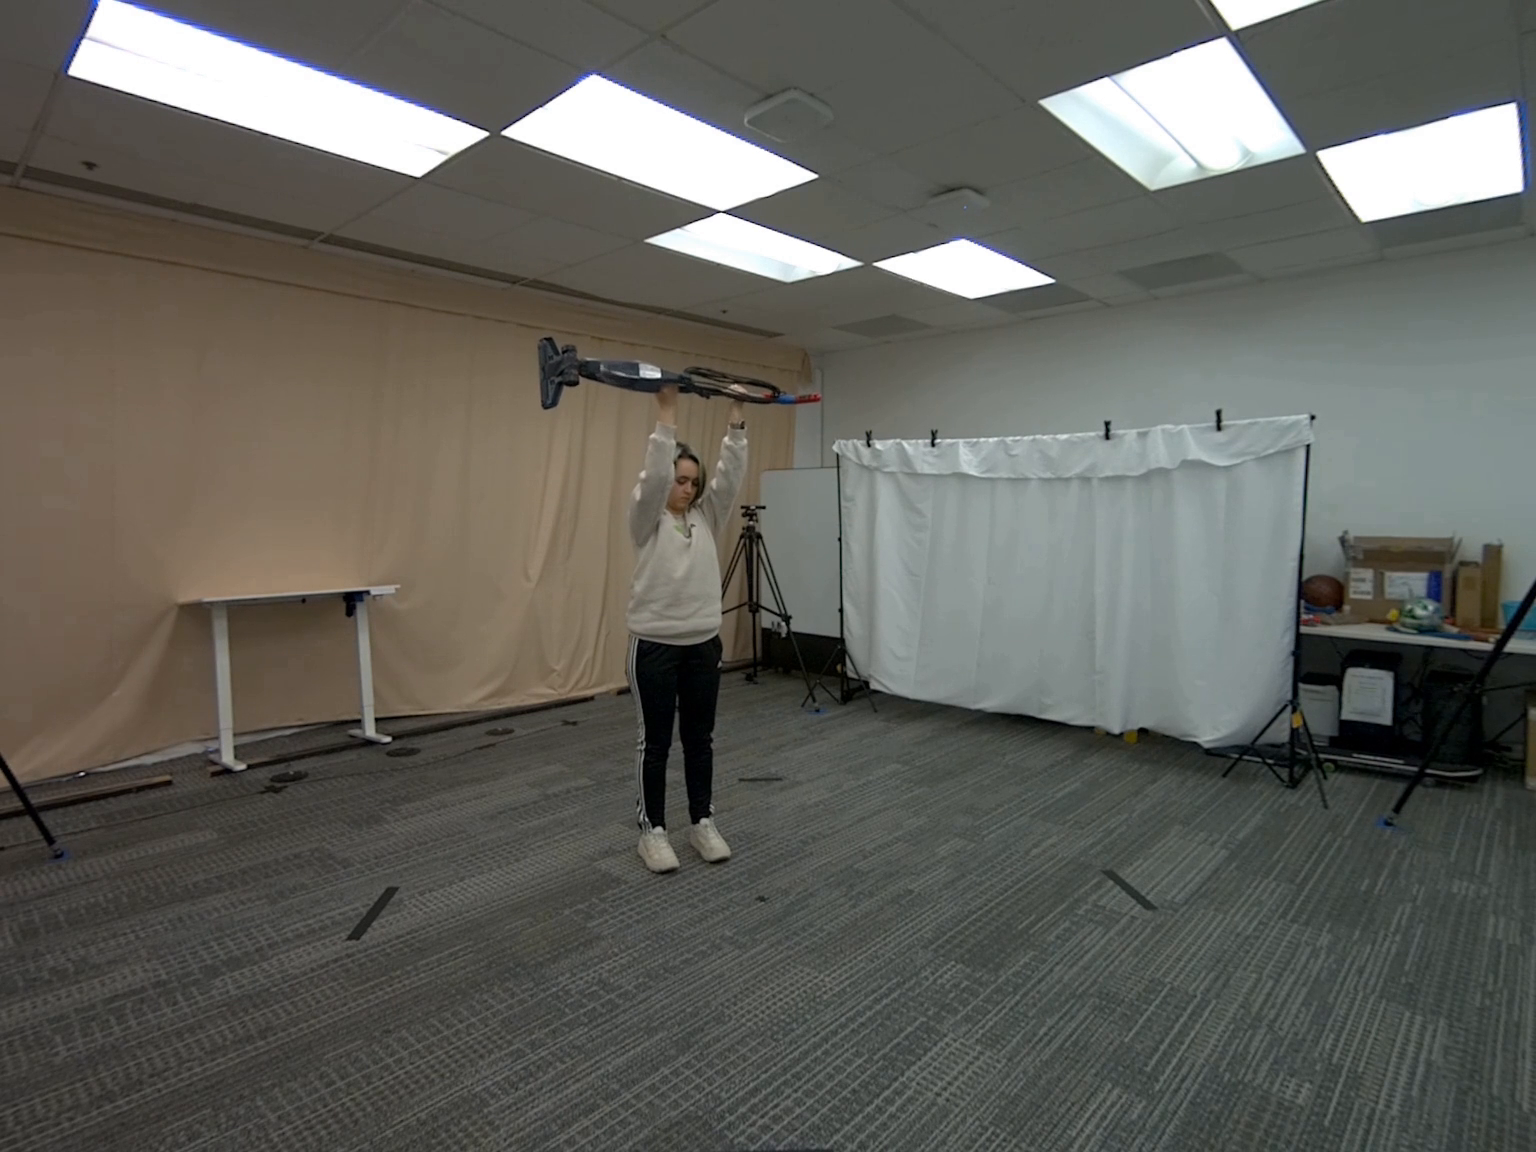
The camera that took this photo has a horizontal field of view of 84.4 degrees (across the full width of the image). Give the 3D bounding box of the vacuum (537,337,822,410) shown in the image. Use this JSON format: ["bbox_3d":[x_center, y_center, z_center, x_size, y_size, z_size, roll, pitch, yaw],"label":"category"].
[{"bbox_3d":[-0.261,-0.698,3.045,1.024,0.255,0.146,0,-17,-25],"label":"vacuum"}]
